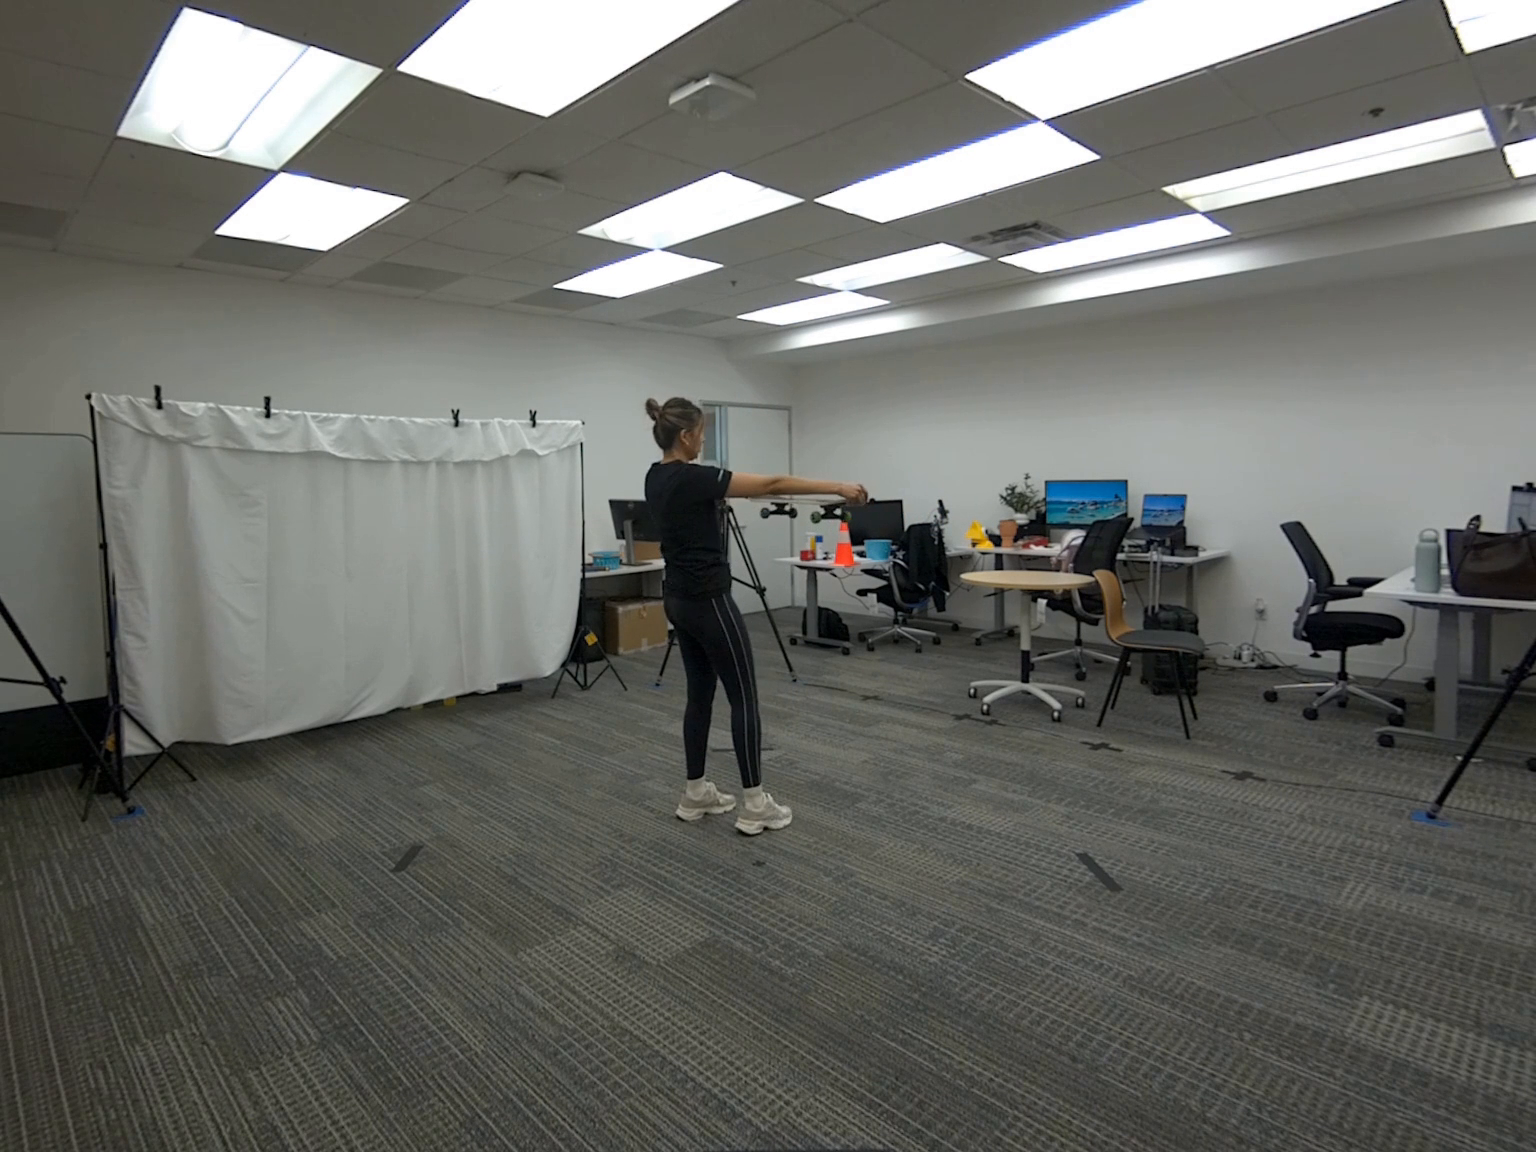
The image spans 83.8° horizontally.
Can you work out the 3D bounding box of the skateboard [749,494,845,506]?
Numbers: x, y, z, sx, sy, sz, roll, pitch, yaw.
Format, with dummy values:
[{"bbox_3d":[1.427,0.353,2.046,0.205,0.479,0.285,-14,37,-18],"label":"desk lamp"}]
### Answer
[{"bbox_3d":[0.149,-0.298,3.742,0.188,0.110,0.809,2,5,-32],"label":"skateboard"}]
